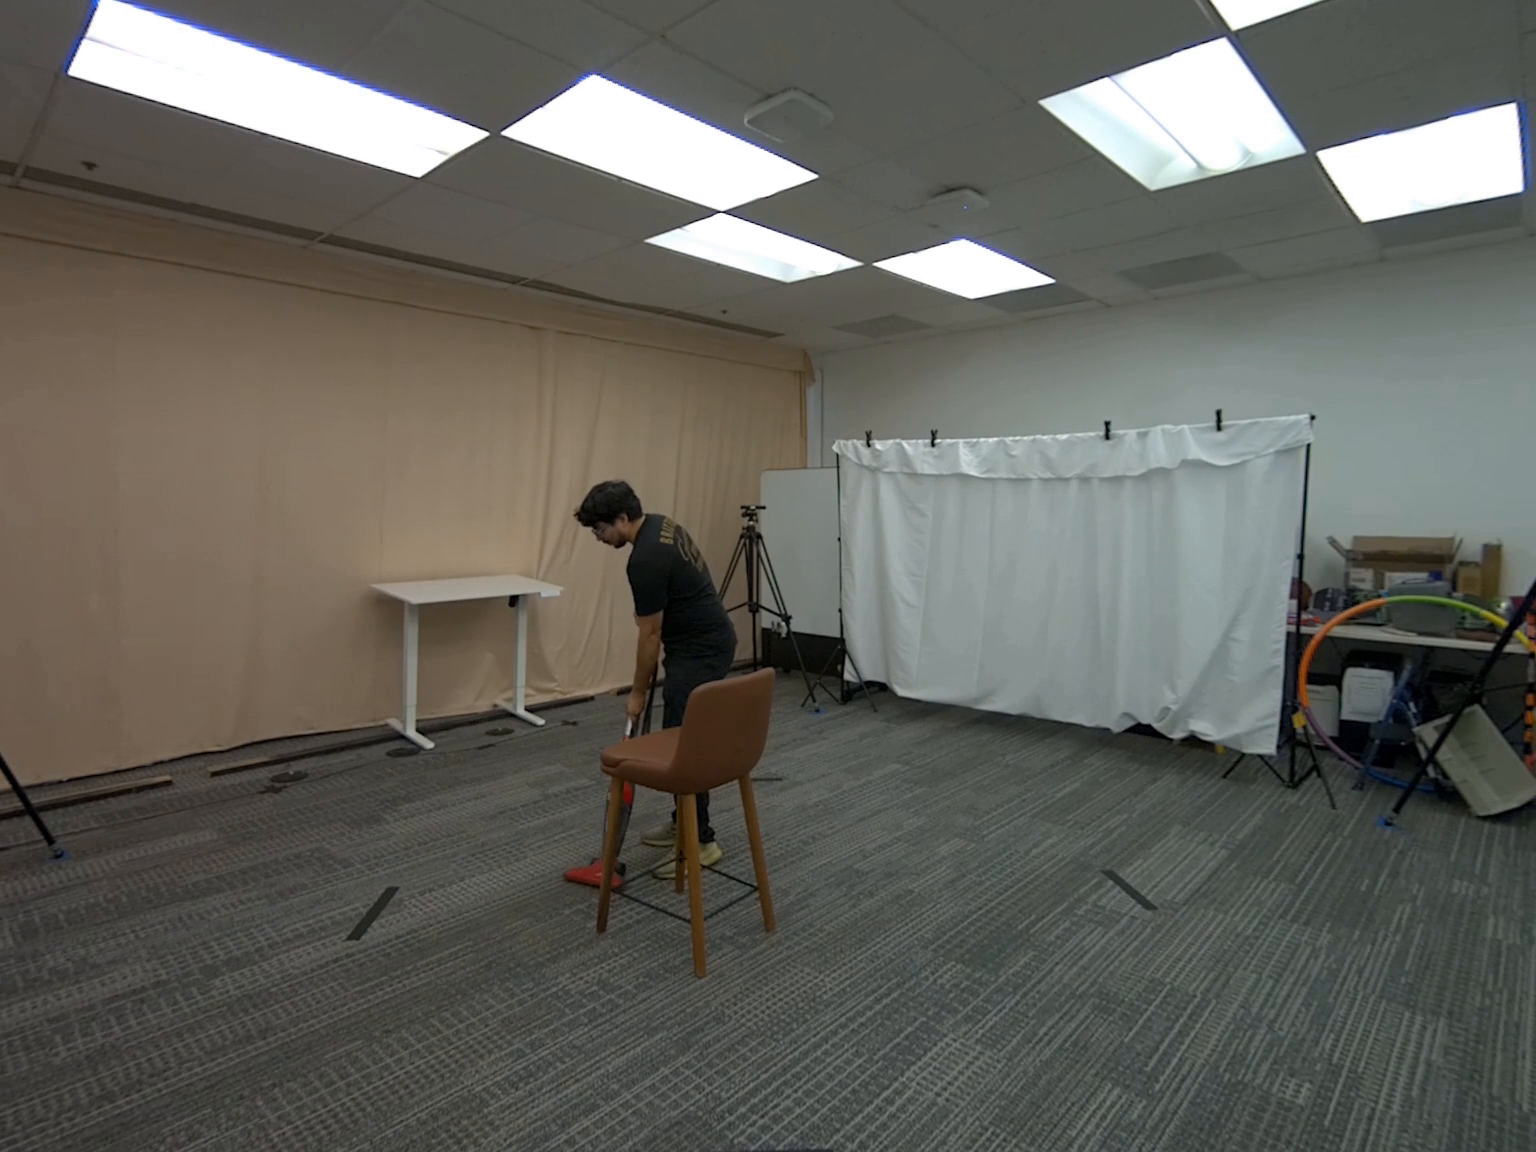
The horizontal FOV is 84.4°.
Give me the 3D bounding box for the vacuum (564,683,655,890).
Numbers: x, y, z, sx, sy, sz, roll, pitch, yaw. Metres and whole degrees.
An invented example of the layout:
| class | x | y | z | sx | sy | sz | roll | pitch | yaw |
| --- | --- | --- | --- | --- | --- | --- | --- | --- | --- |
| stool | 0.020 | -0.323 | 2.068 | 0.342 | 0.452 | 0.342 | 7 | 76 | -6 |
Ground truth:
| class | x | y | z | sx | sy | sz | roll | pitch | yaw |
| --- | --- | --- | --- | --- | --- | --- | --- | --- | --- |
| vacuum | -0.546 | 0.654 | 3.337 | 0.259 | 1.058 | 0.139 | -2 | -24 | 28 |
